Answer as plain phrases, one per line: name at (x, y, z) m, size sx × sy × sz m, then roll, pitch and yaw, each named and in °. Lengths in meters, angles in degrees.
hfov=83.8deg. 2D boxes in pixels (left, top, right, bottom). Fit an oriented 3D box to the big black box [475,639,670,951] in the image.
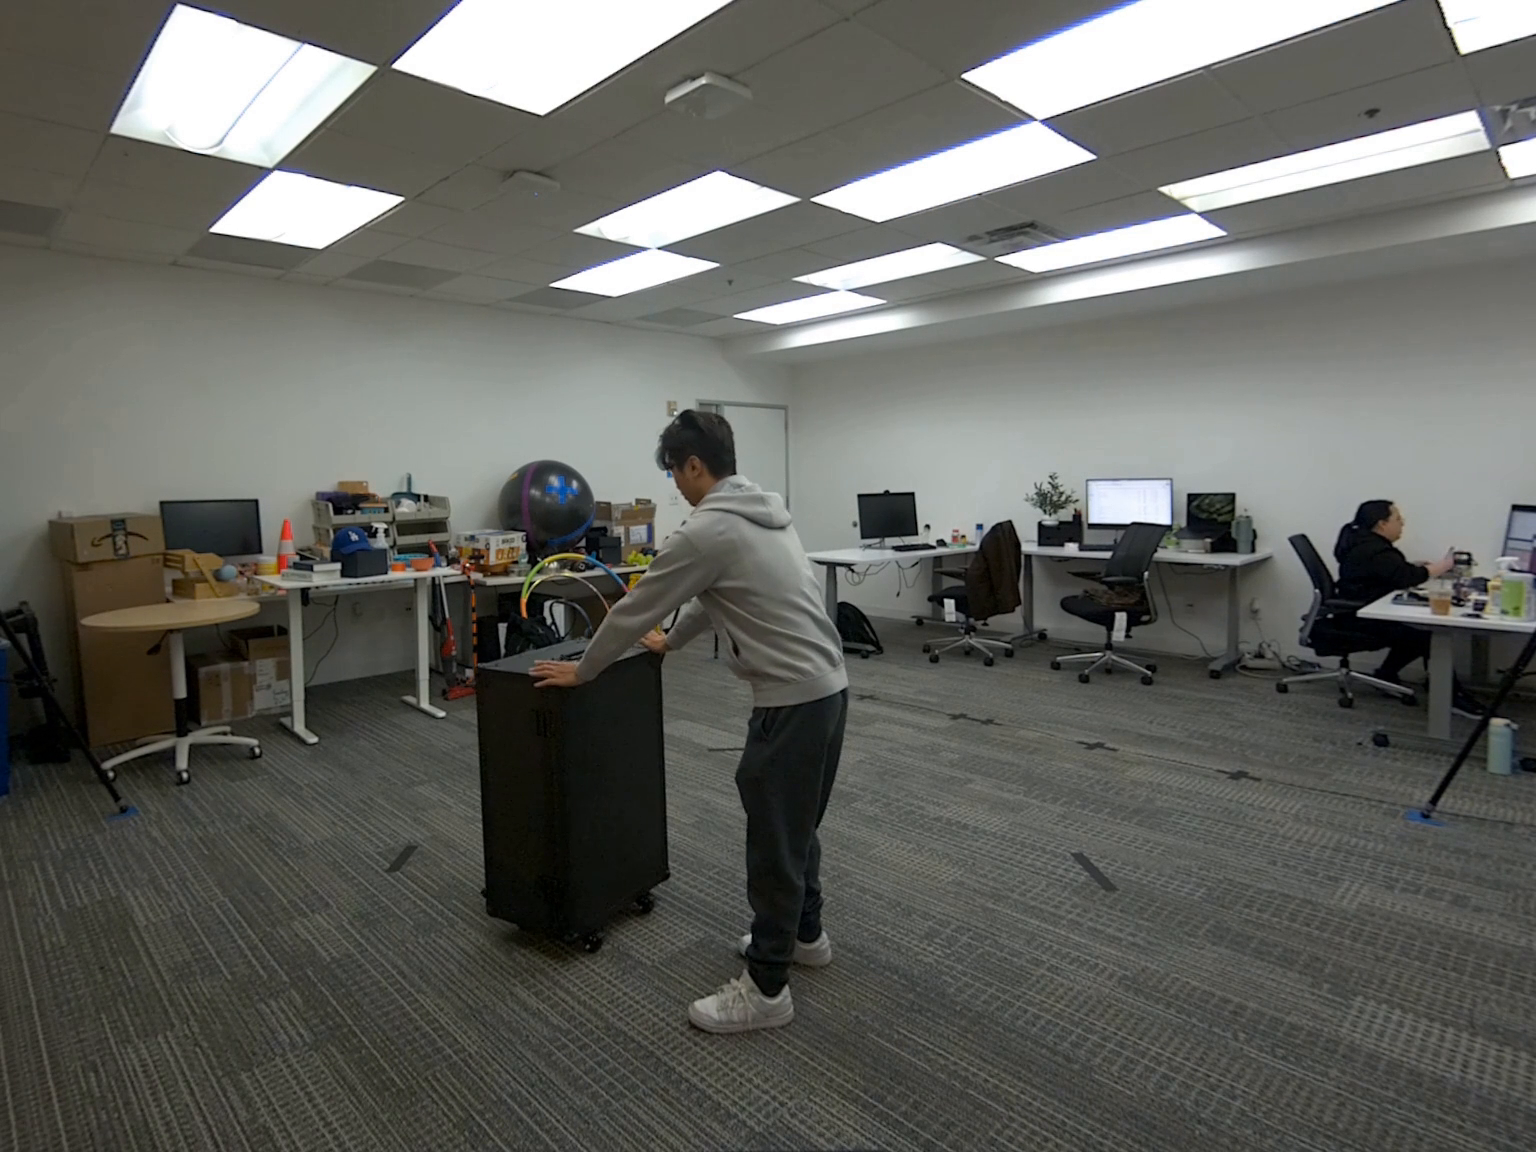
big black box at (-0.619, 0.675, 2.723) m, size 0.407 × 0.858 × 0.509 m, roll 0°, pitch 4°, yaw 31°
